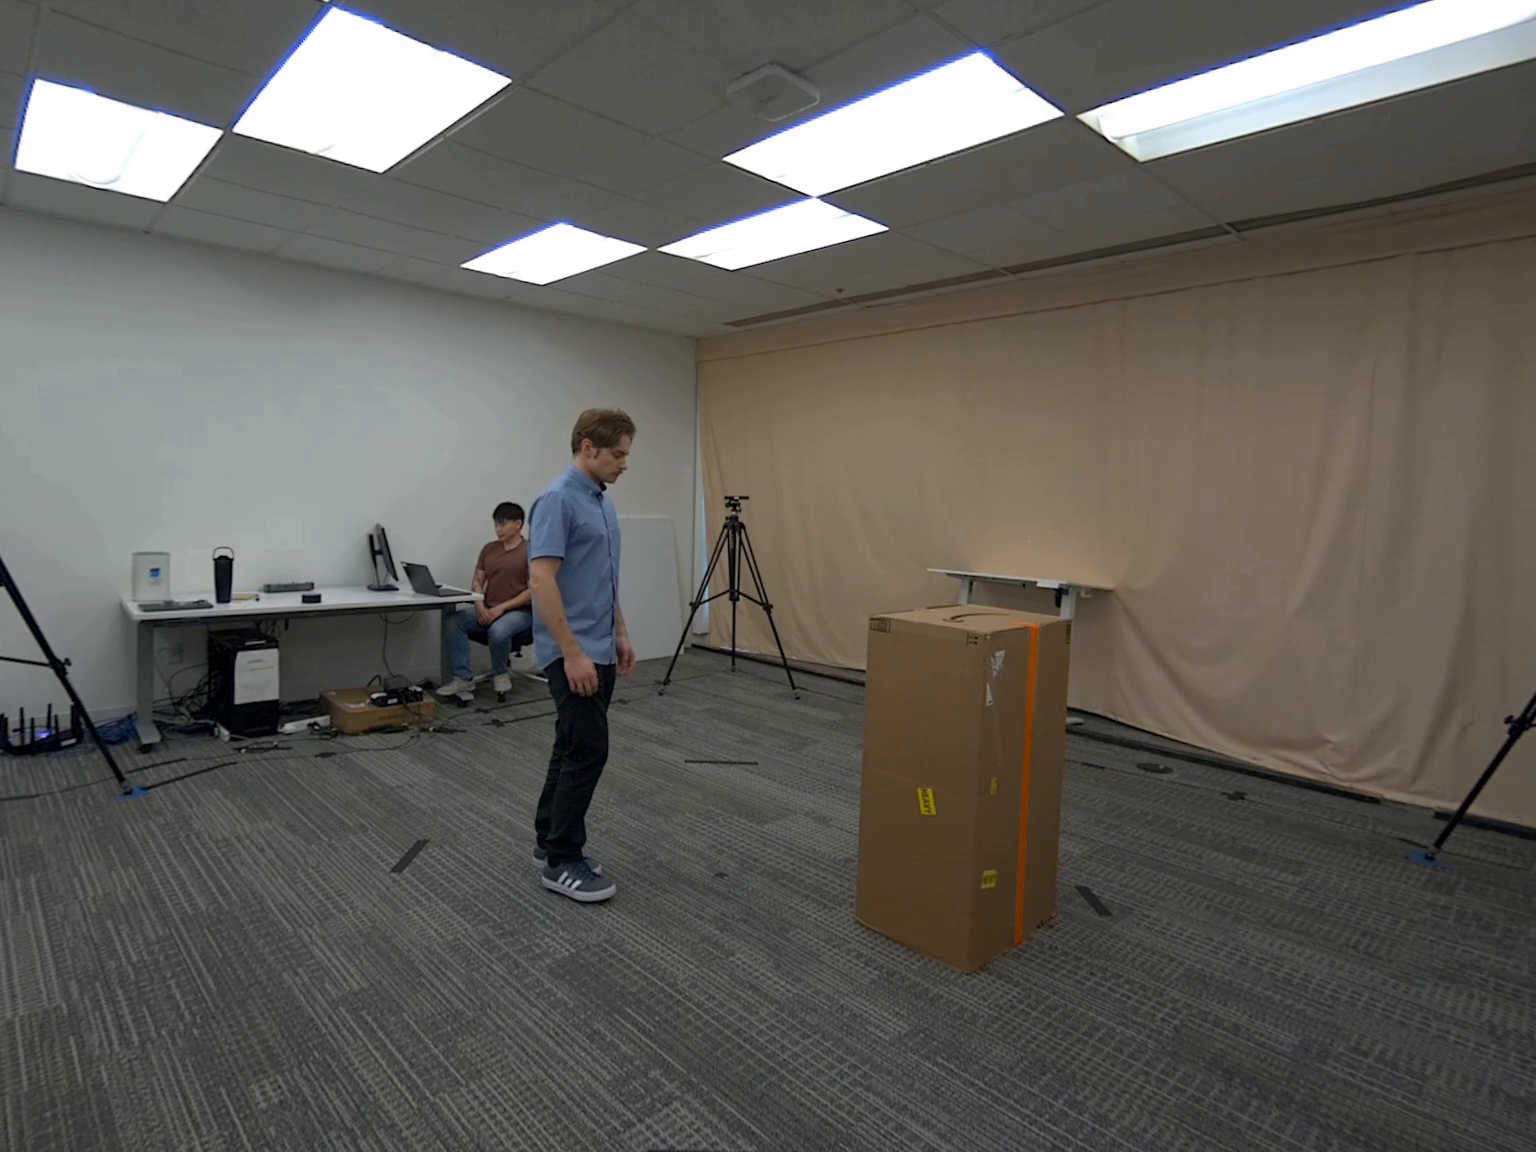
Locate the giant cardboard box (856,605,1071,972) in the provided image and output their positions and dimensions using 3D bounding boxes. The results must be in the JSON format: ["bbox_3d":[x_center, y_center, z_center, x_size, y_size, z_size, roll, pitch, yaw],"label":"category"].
[{"bbox_3d":[0.651,0.643,2.800,0.564,1.023,0.437,-1,5,-45],"label":"giant cardboard box"}]
